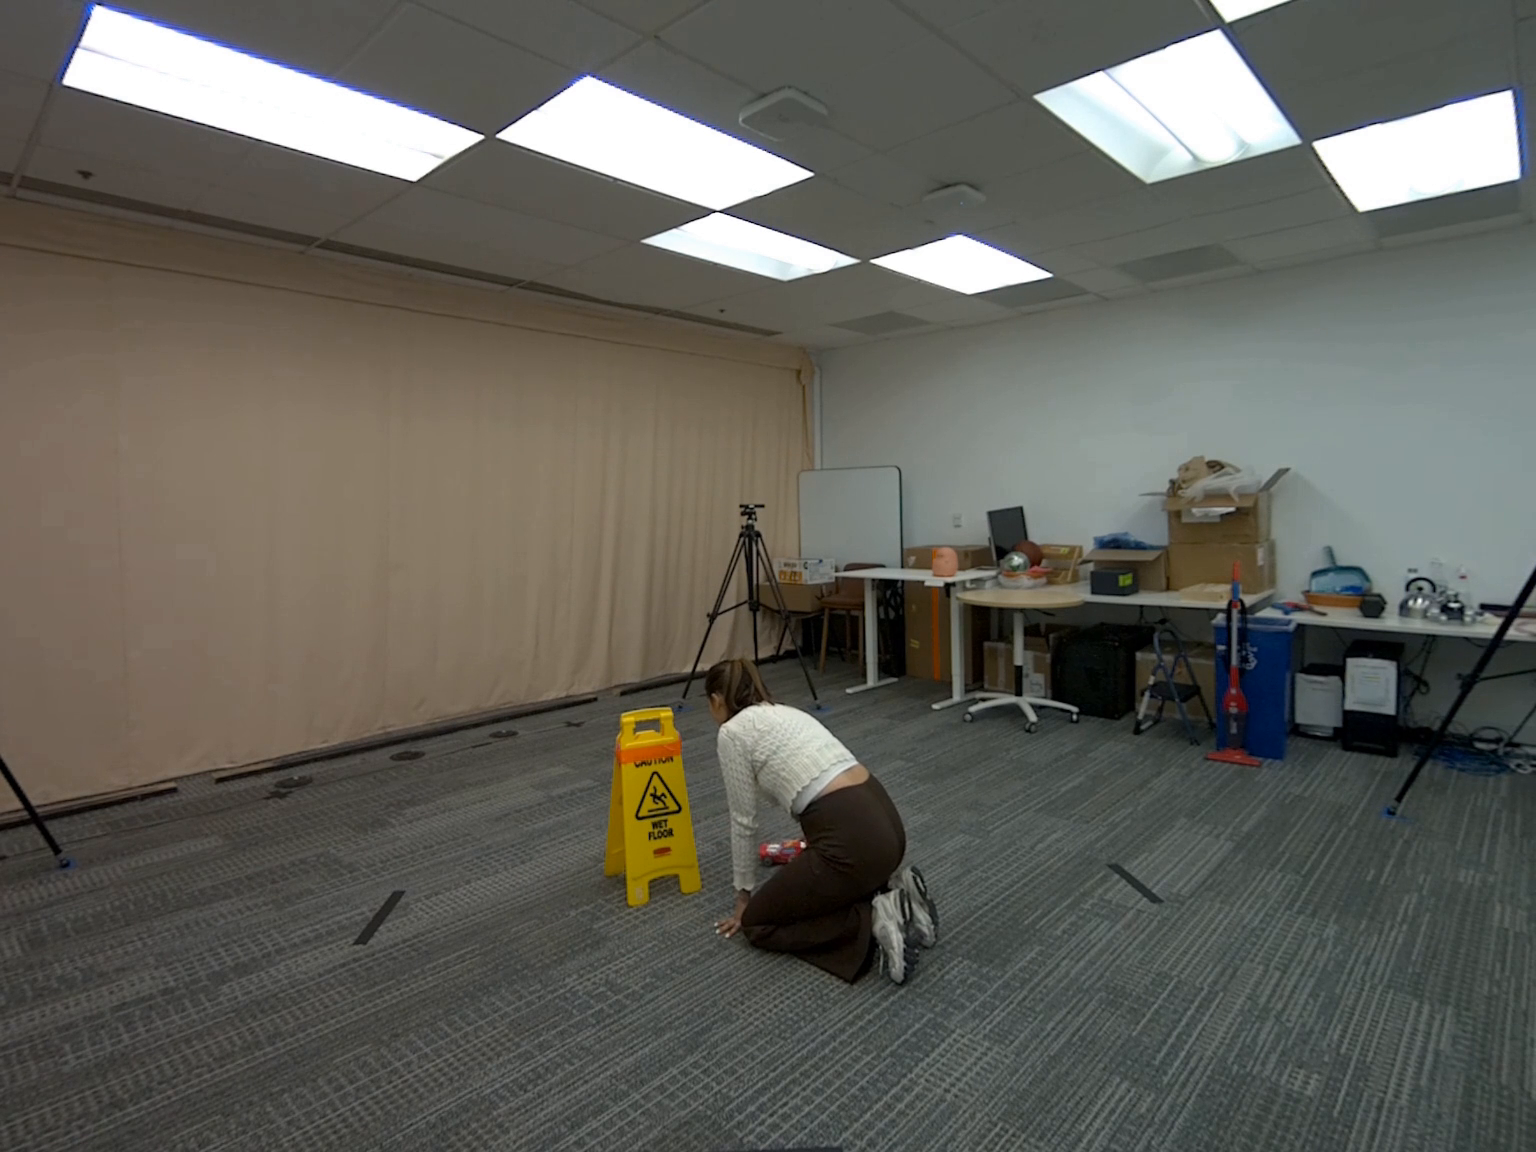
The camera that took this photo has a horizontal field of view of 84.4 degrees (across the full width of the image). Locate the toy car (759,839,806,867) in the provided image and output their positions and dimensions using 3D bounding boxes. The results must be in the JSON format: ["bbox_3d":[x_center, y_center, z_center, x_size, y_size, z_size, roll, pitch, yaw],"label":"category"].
[{"bbox_3d":[0.072,1.084,3.276,0.257,0.083,0.130,-9,5,8],"label":"toy car"}]
